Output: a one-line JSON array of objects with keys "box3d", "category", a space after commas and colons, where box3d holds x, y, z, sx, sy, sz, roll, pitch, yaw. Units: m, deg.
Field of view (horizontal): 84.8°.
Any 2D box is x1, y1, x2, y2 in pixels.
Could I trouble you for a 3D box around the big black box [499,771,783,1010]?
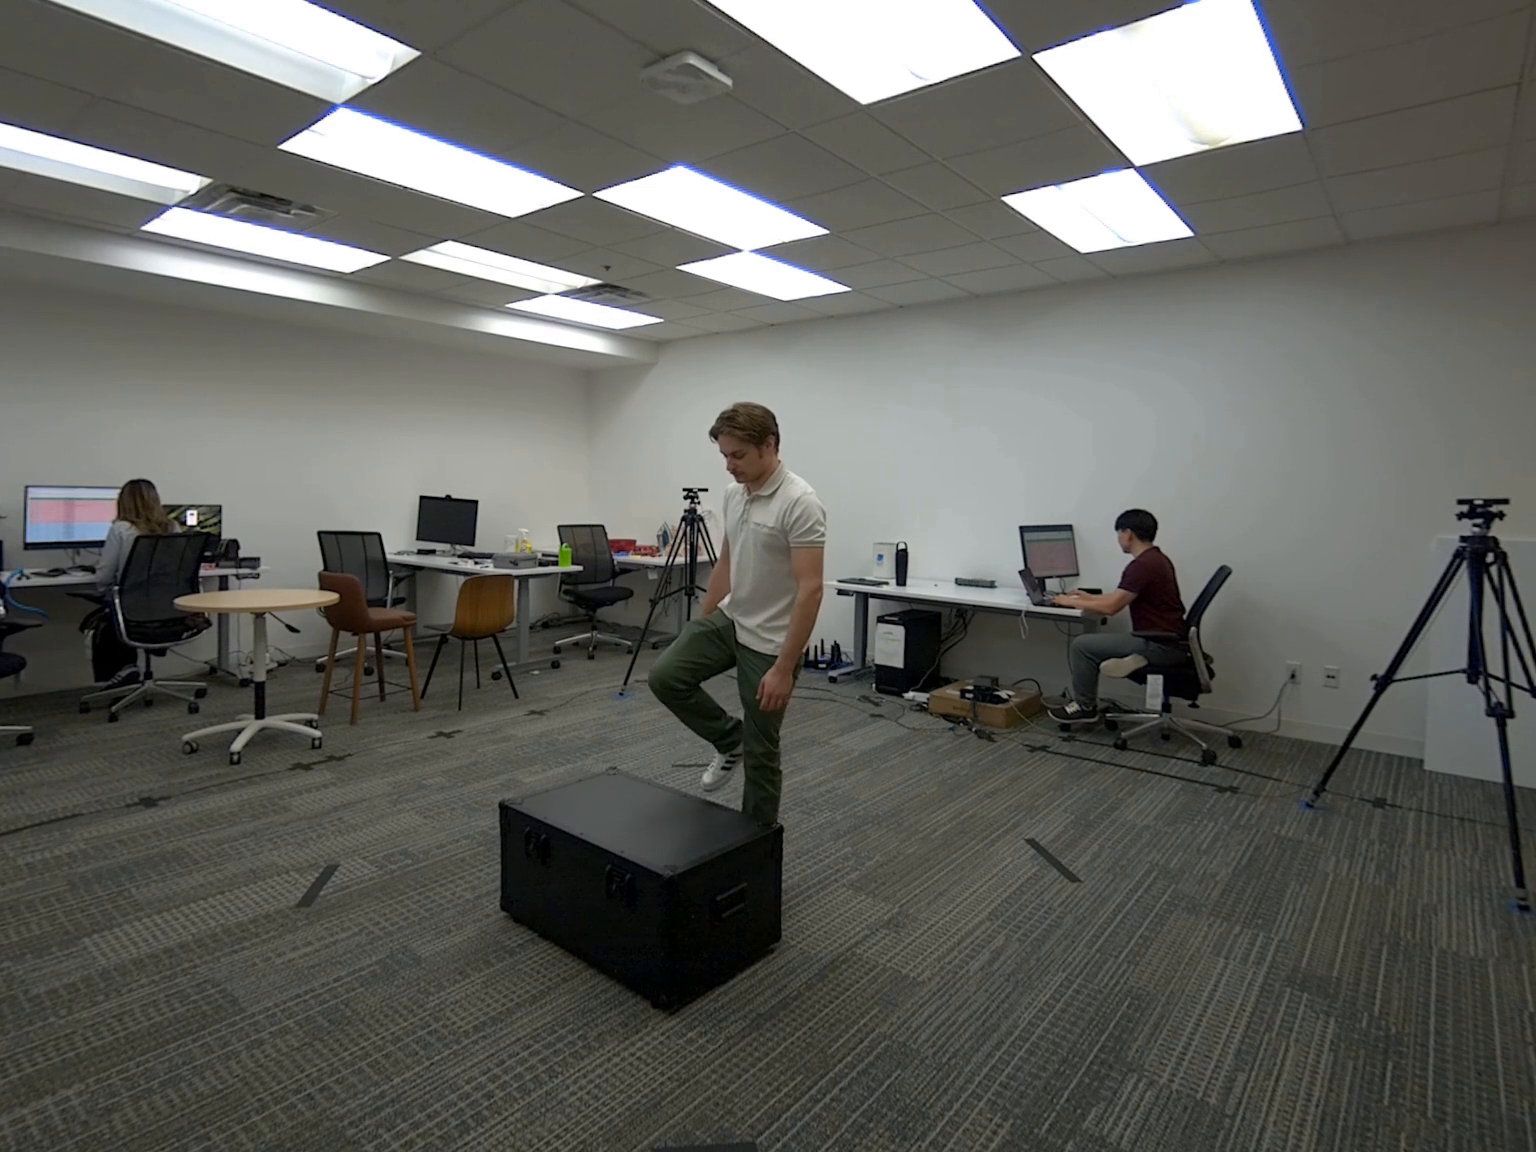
[{"box3d": [-0.442, 0.918, 2.671, 0.891, 0.395, 0.506, 6, 7, 40], "category": "big black box"}]
